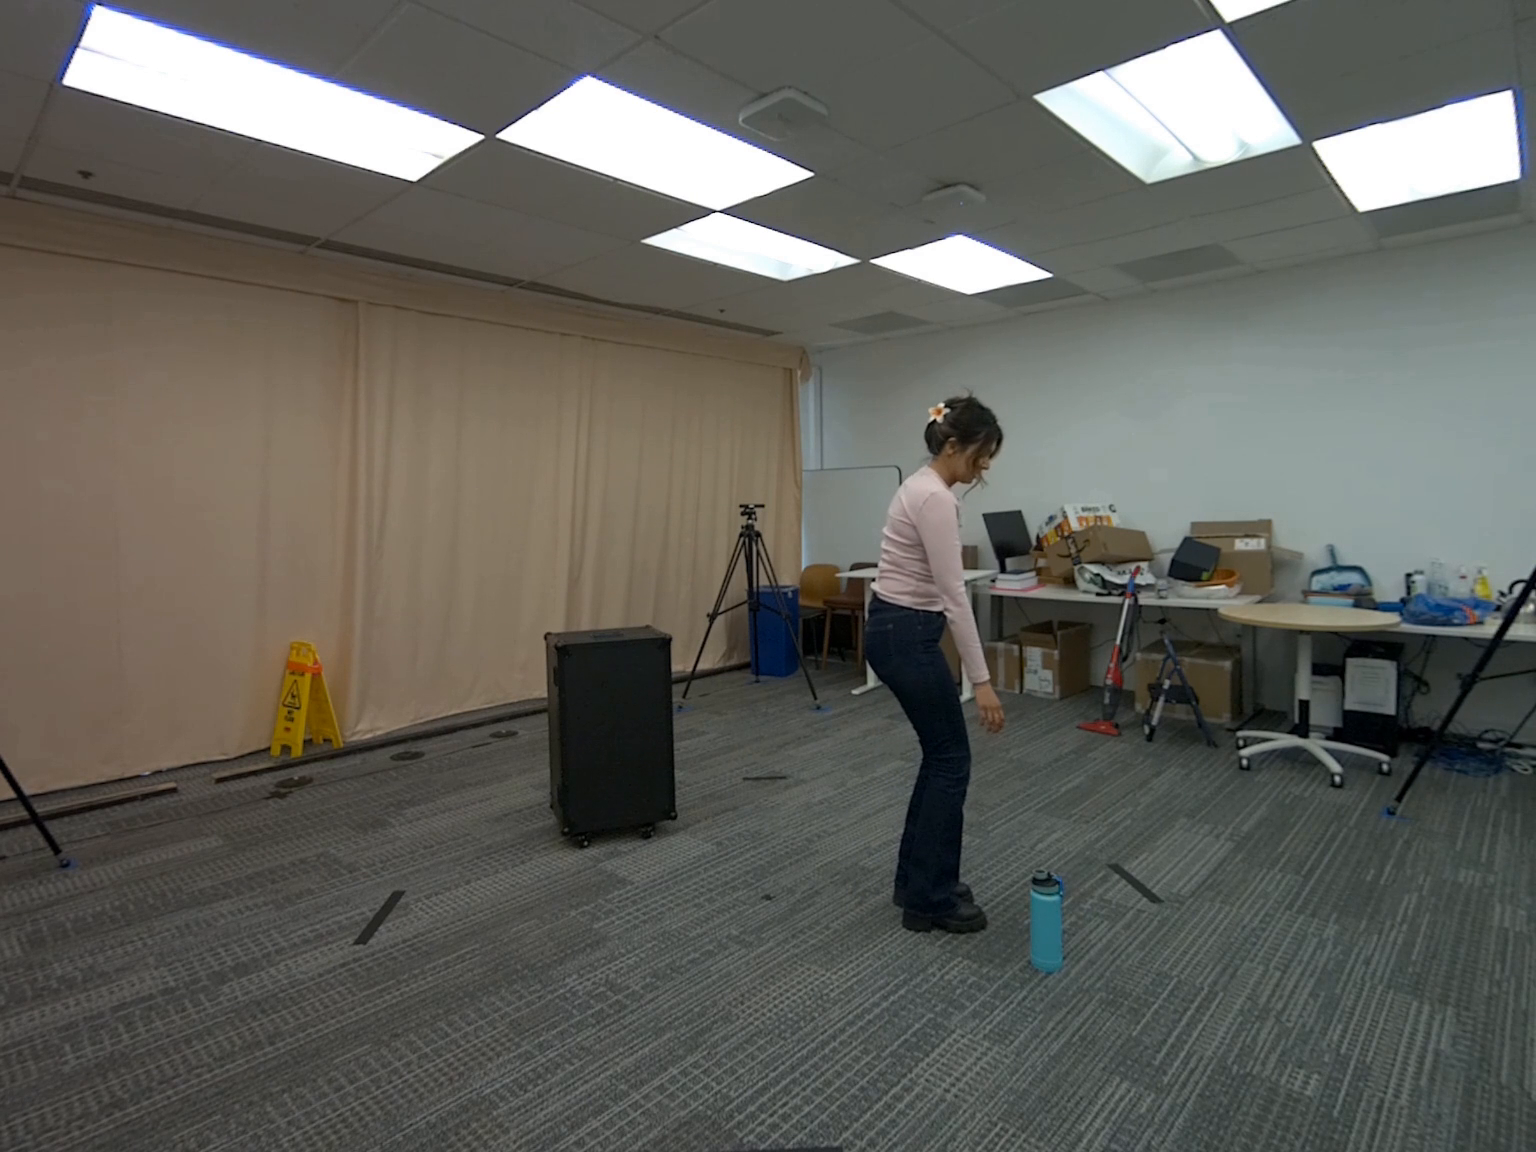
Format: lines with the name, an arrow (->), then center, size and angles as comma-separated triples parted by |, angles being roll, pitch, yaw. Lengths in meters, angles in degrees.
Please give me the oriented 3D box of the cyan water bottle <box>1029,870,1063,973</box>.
cyan water bottle -> 0.845, 1.026, 2.512 | 0.092, 0.283, 0.092 | 0, 3, -2
